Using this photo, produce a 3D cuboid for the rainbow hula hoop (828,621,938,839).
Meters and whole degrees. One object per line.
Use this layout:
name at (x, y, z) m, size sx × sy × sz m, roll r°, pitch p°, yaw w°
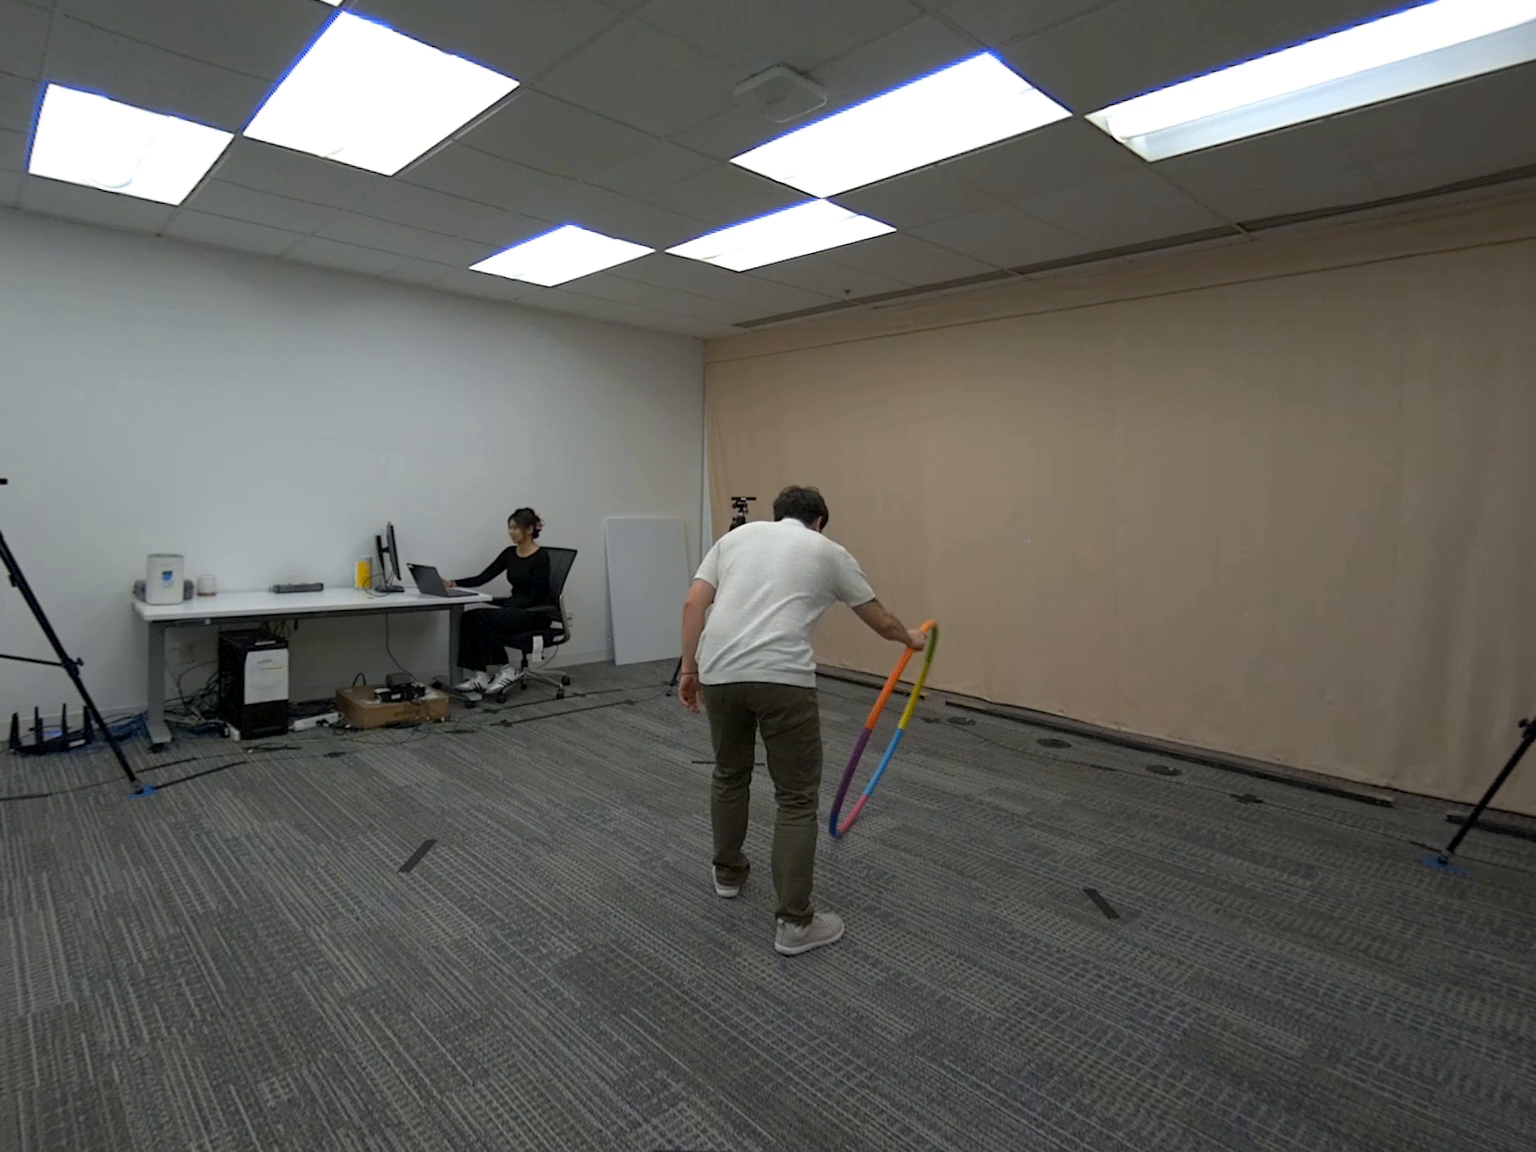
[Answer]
rainbow hula hoop at (0.472, 0.644, 3.487) m, size 0.036 × 0.974 × 0.964 m, roll 25°, pitch 12°, yaw 18°
